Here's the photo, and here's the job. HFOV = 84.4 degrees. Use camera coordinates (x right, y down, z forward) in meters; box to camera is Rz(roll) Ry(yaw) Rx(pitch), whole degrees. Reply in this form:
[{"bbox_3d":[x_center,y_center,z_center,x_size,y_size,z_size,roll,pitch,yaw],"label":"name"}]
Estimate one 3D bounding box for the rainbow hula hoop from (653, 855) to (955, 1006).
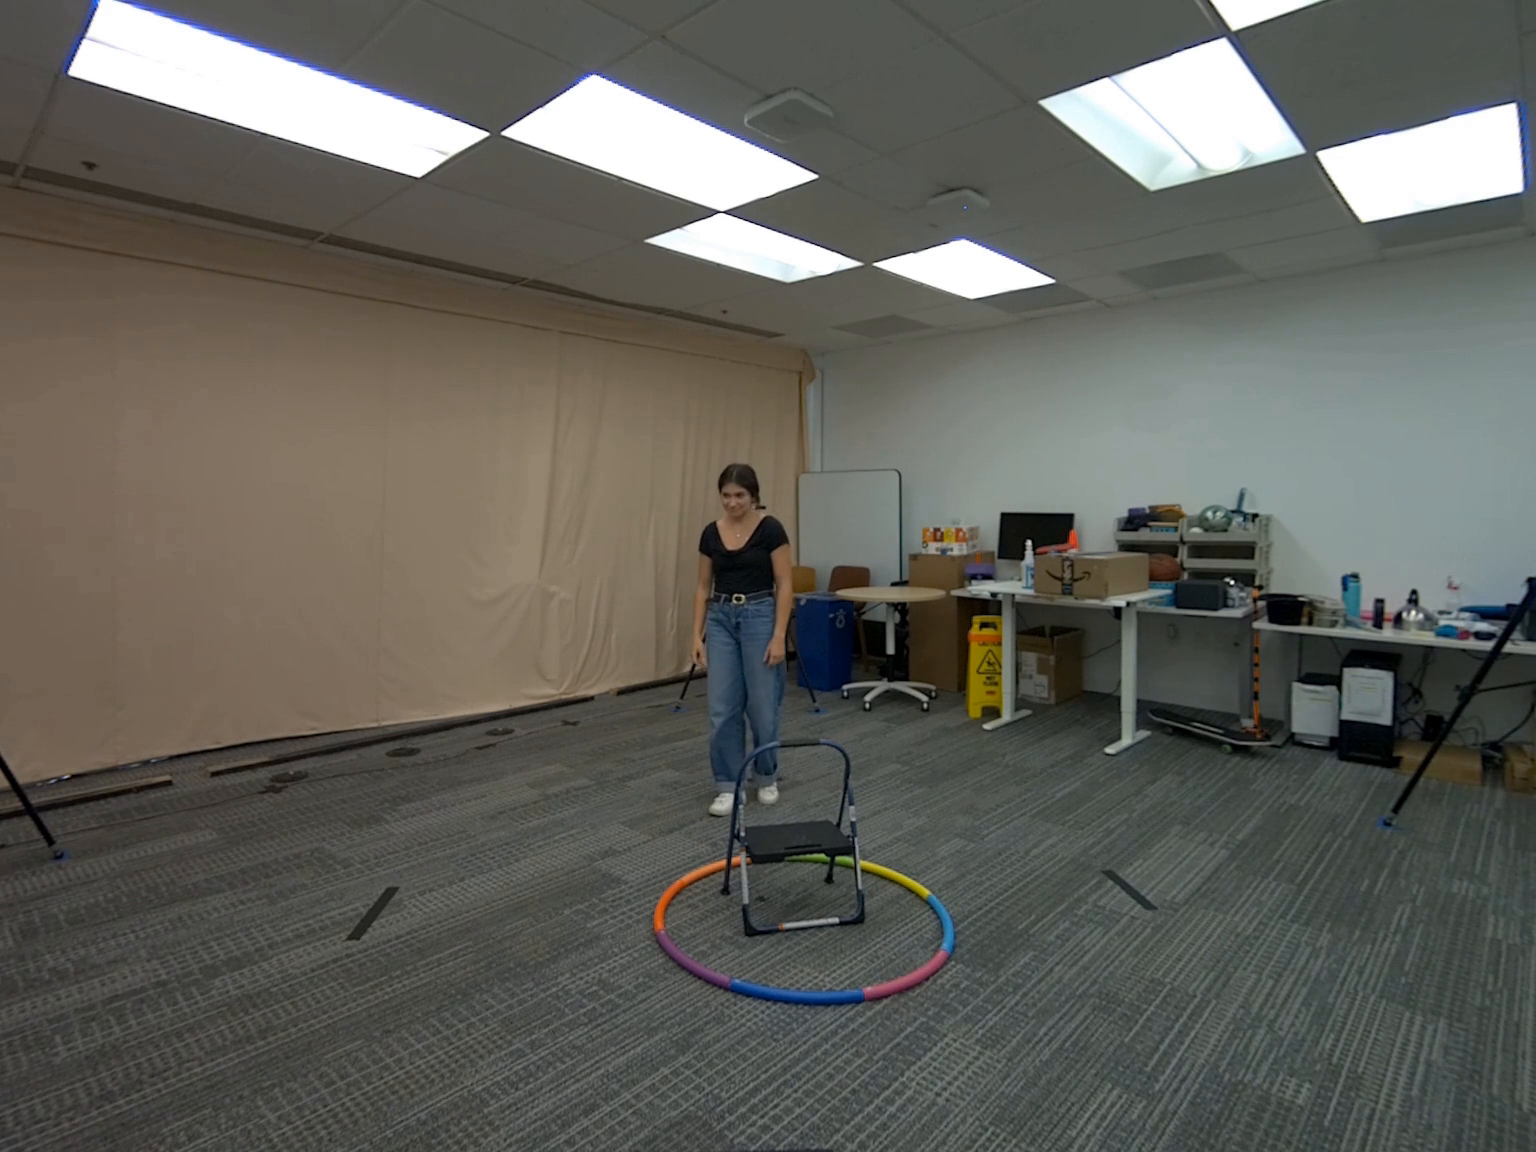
[{"bbox_3d":[0.119,1.128,2.830,0.978,0.035,0.982,0,4,-2],"label":"rainbow hula hoop"}]
